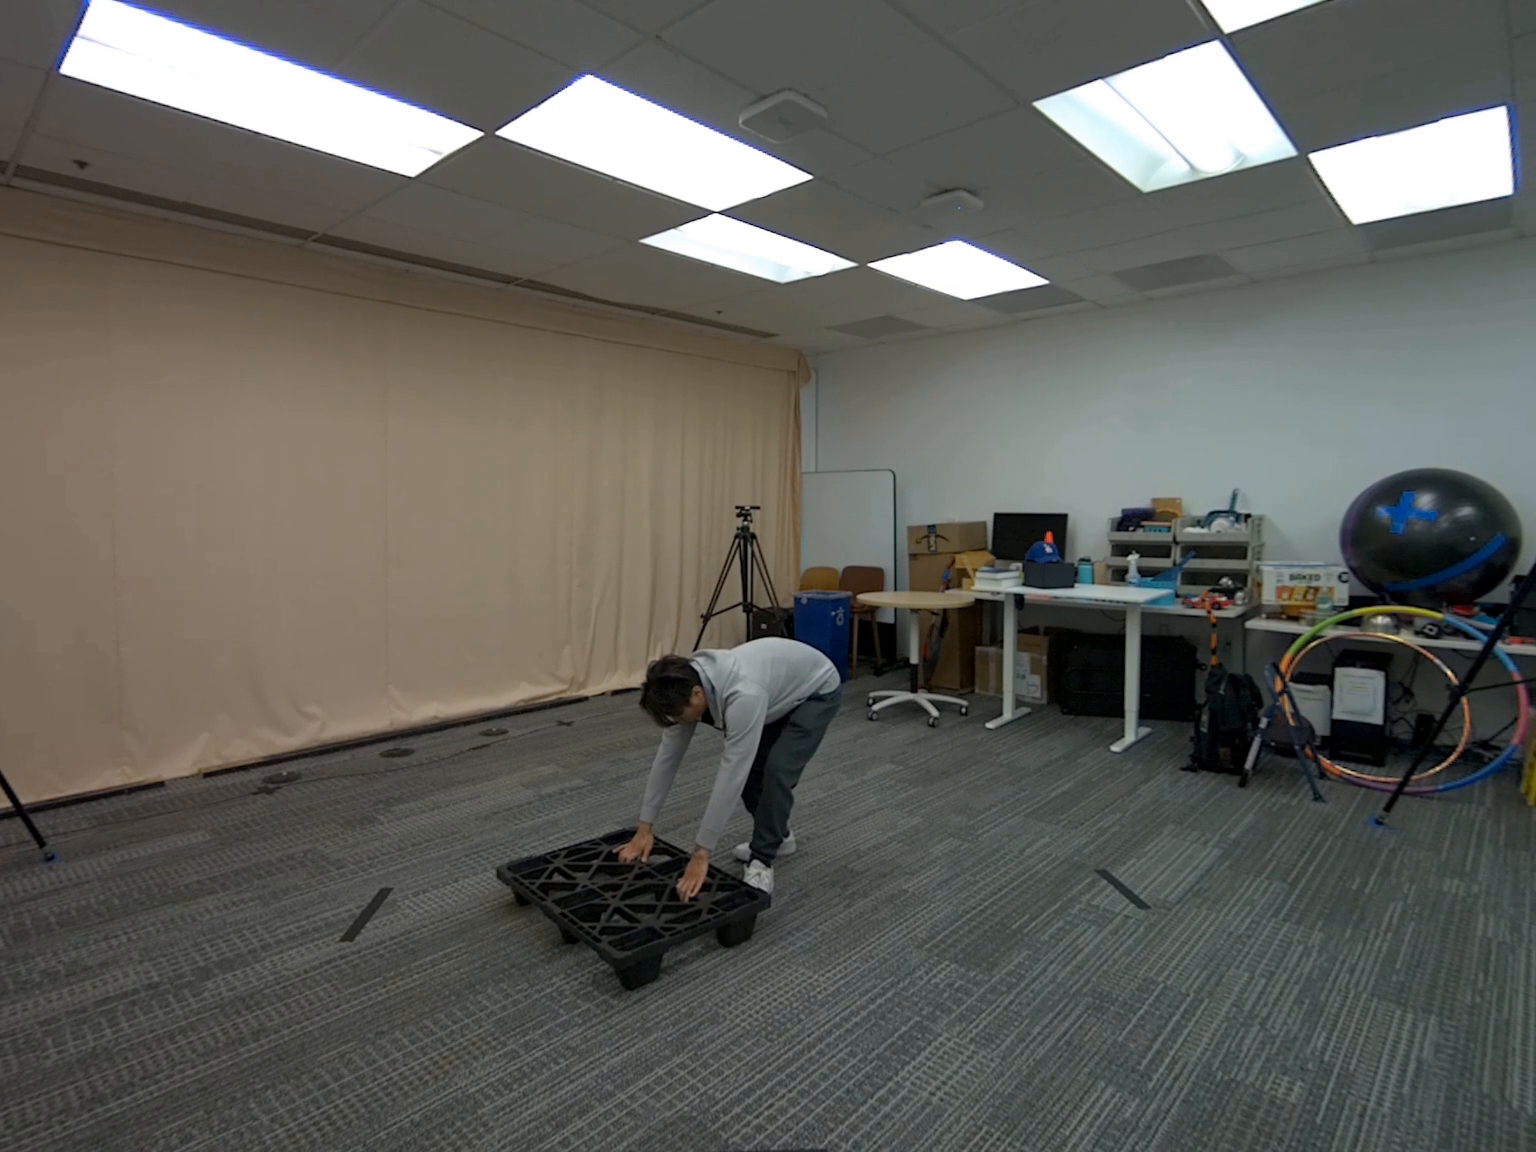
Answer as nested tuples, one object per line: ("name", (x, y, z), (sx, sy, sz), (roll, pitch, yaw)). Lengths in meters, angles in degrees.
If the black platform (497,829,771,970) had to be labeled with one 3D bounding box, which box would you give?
("black platform", (-0.473, 1.094, 2.841), (0.587, 0.143, 0.832), (-4, 6, -41))
